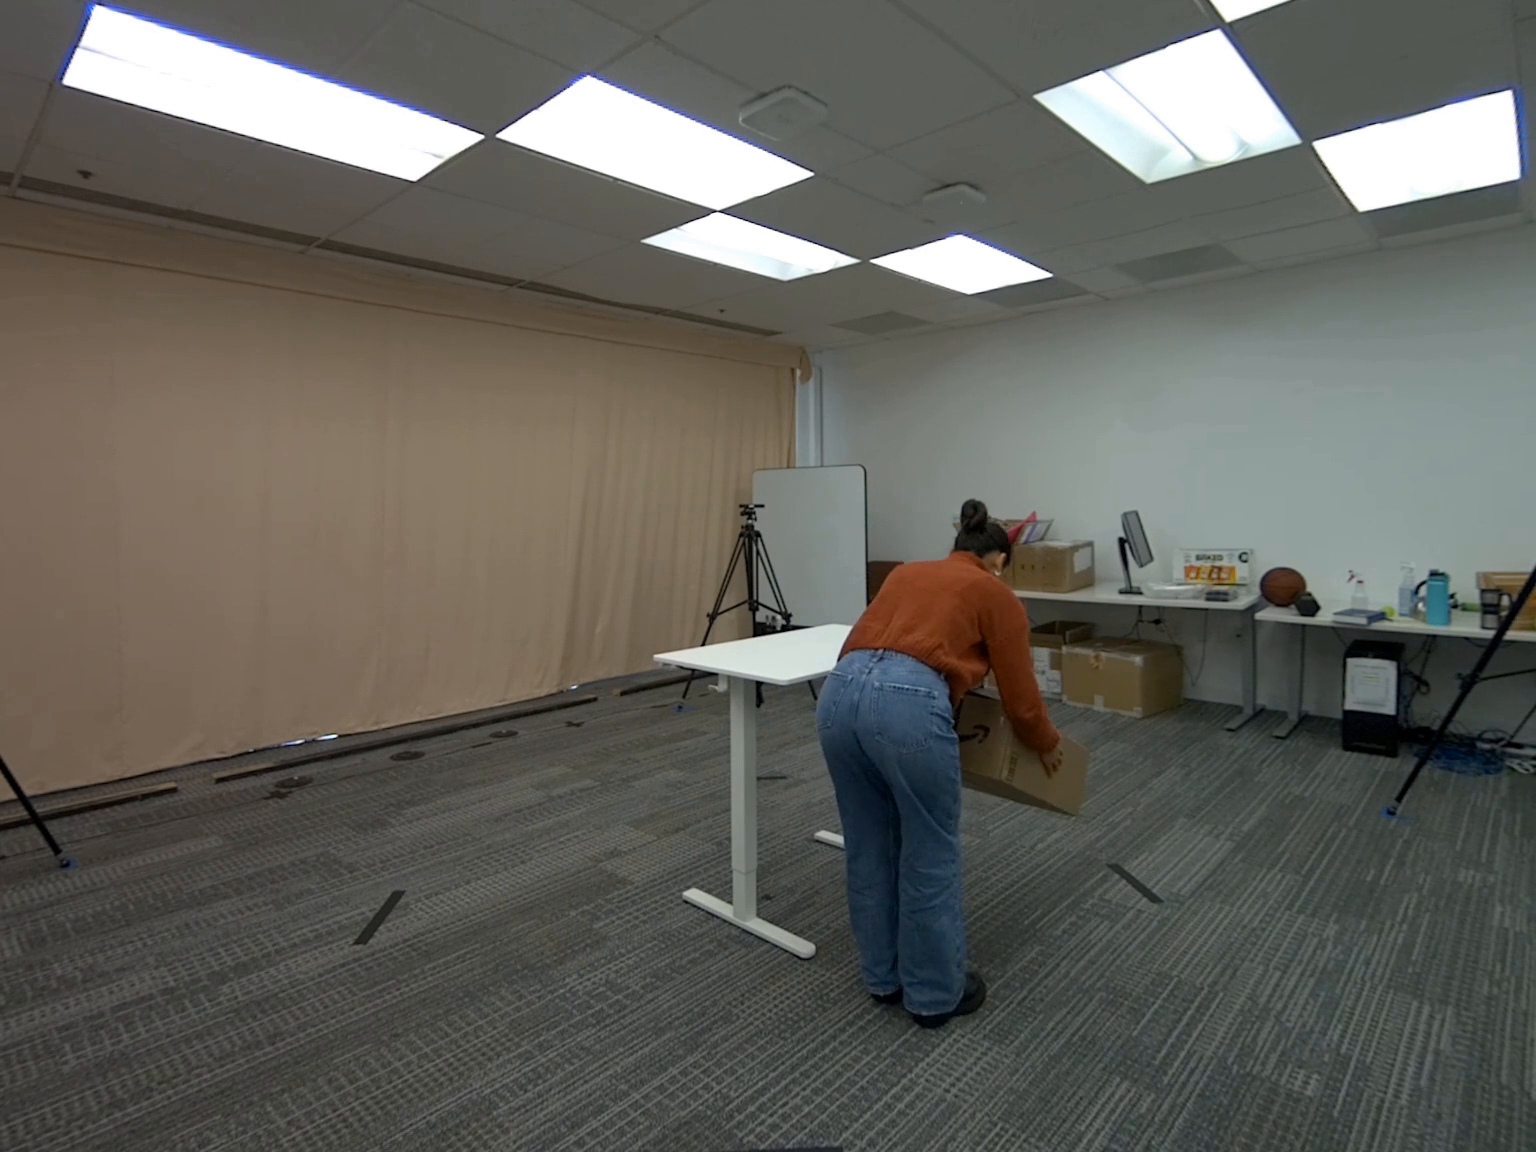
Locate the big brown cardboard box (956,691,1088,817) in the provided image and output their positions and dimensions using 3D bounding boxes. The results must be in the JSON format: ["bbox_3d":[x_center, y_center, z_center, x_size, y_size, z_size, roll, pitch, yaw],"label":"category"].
[{"bbox_3d":[0.688,0.540,2.615,0.431,0.234,0.567,4,-19,42],"label":"big brown cardboard box"}]
